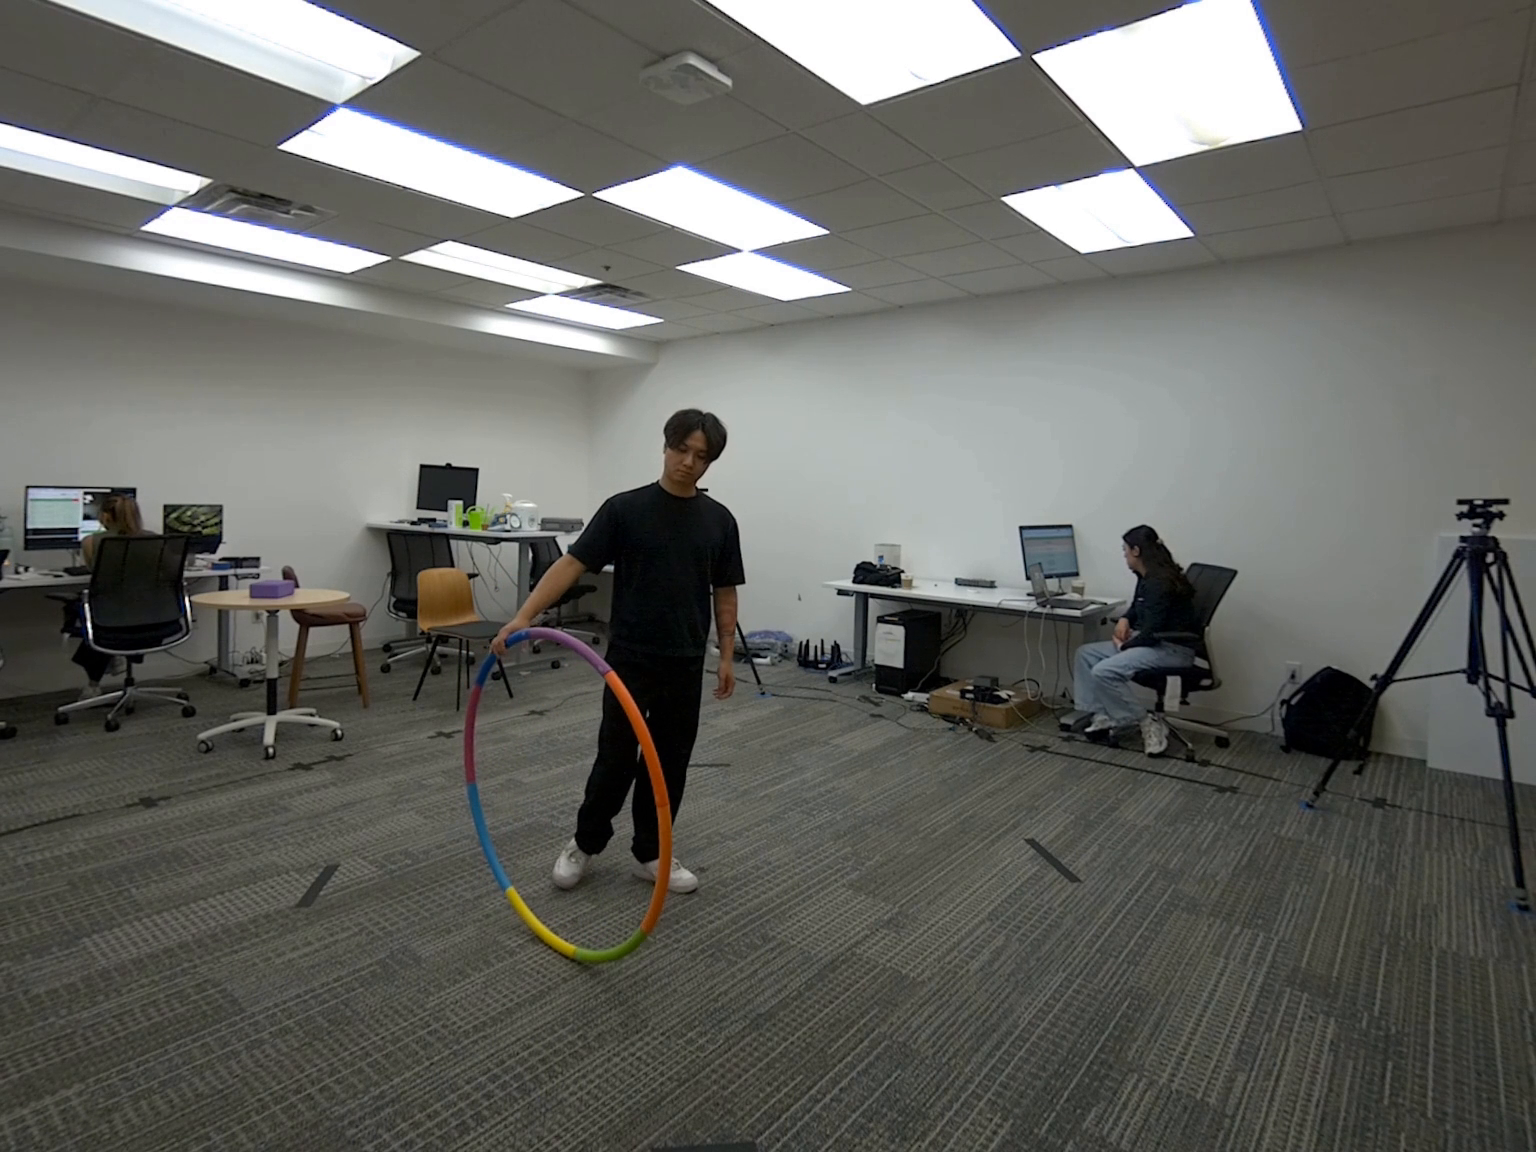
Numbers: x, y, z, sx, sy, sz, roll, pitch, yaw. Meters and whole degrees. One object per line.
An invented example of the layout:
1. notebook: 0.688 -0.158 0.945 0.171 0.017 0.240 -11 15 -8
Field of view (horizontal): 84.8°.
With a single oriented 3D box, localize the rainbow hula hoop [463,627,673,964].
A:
1. rainbow hula hoop: -0.631 0.635 2.513 1.012 0.974 0.034 4 7 42
